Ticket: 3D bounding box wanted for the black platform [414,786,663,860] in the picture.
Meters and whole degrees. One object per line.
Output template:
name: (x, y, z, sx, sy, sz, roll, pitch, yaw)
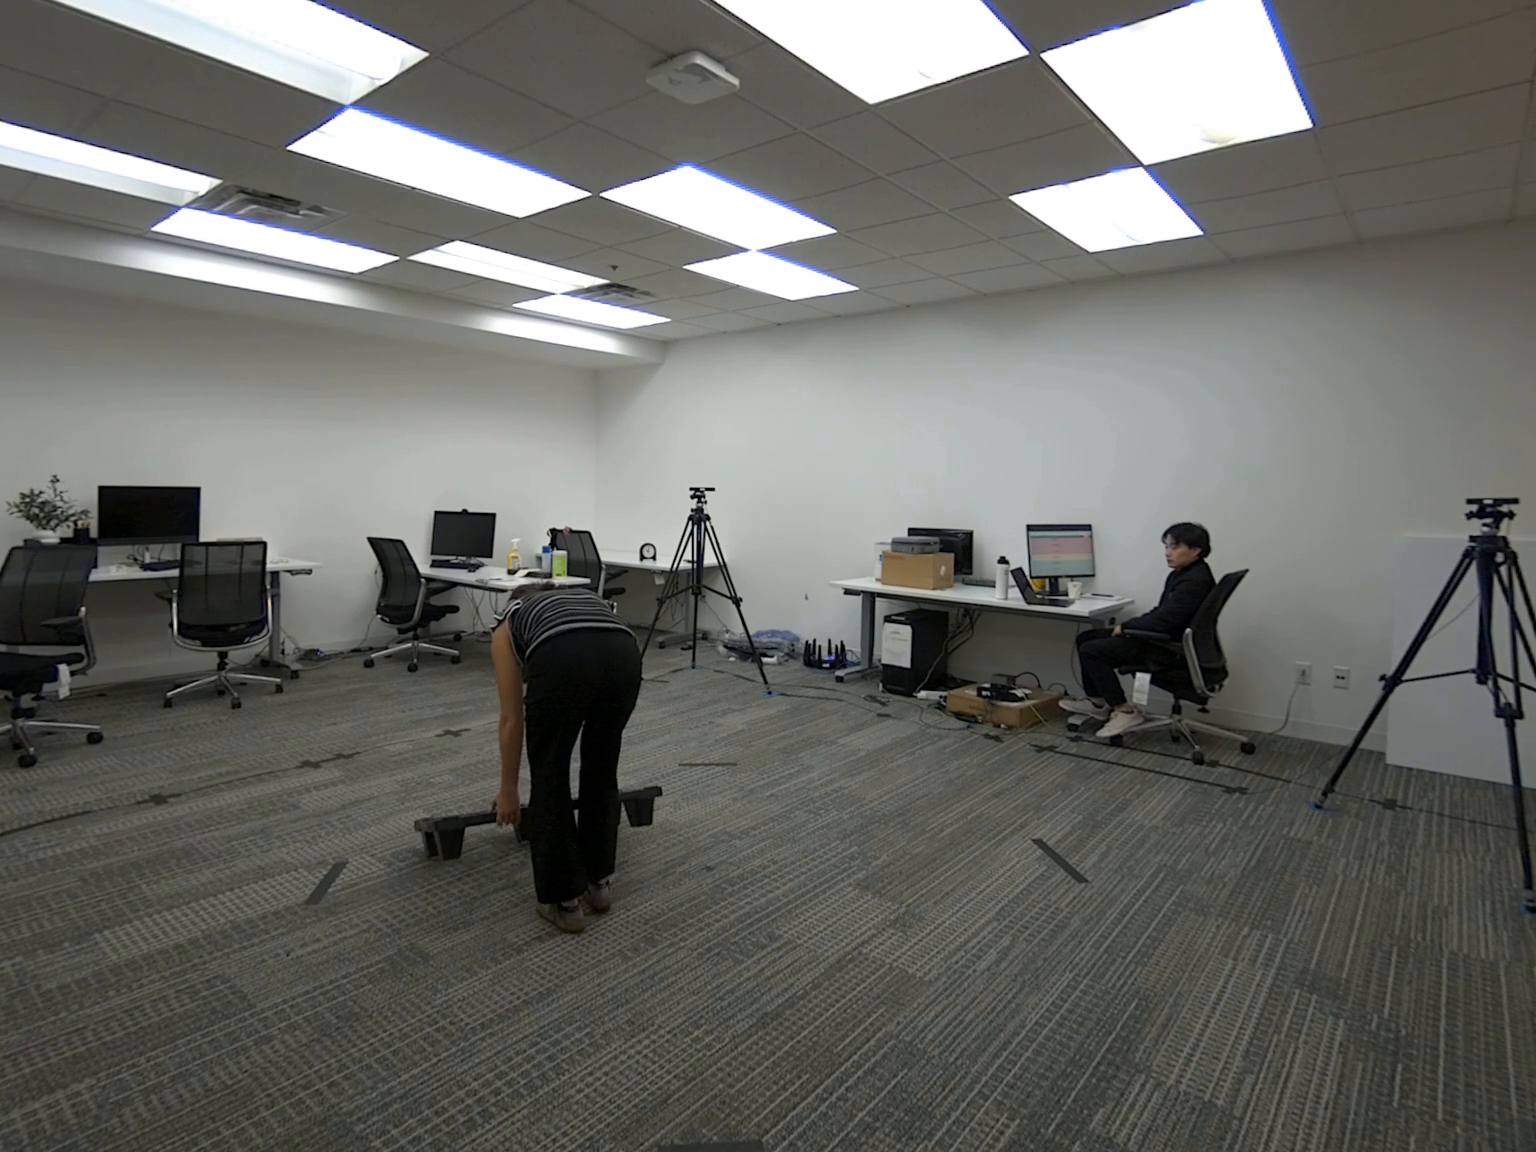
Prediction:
black platform: (-0.869, 0.916, 3.150, 0.786, 0.145, 0.611, -2, -13, -27)
